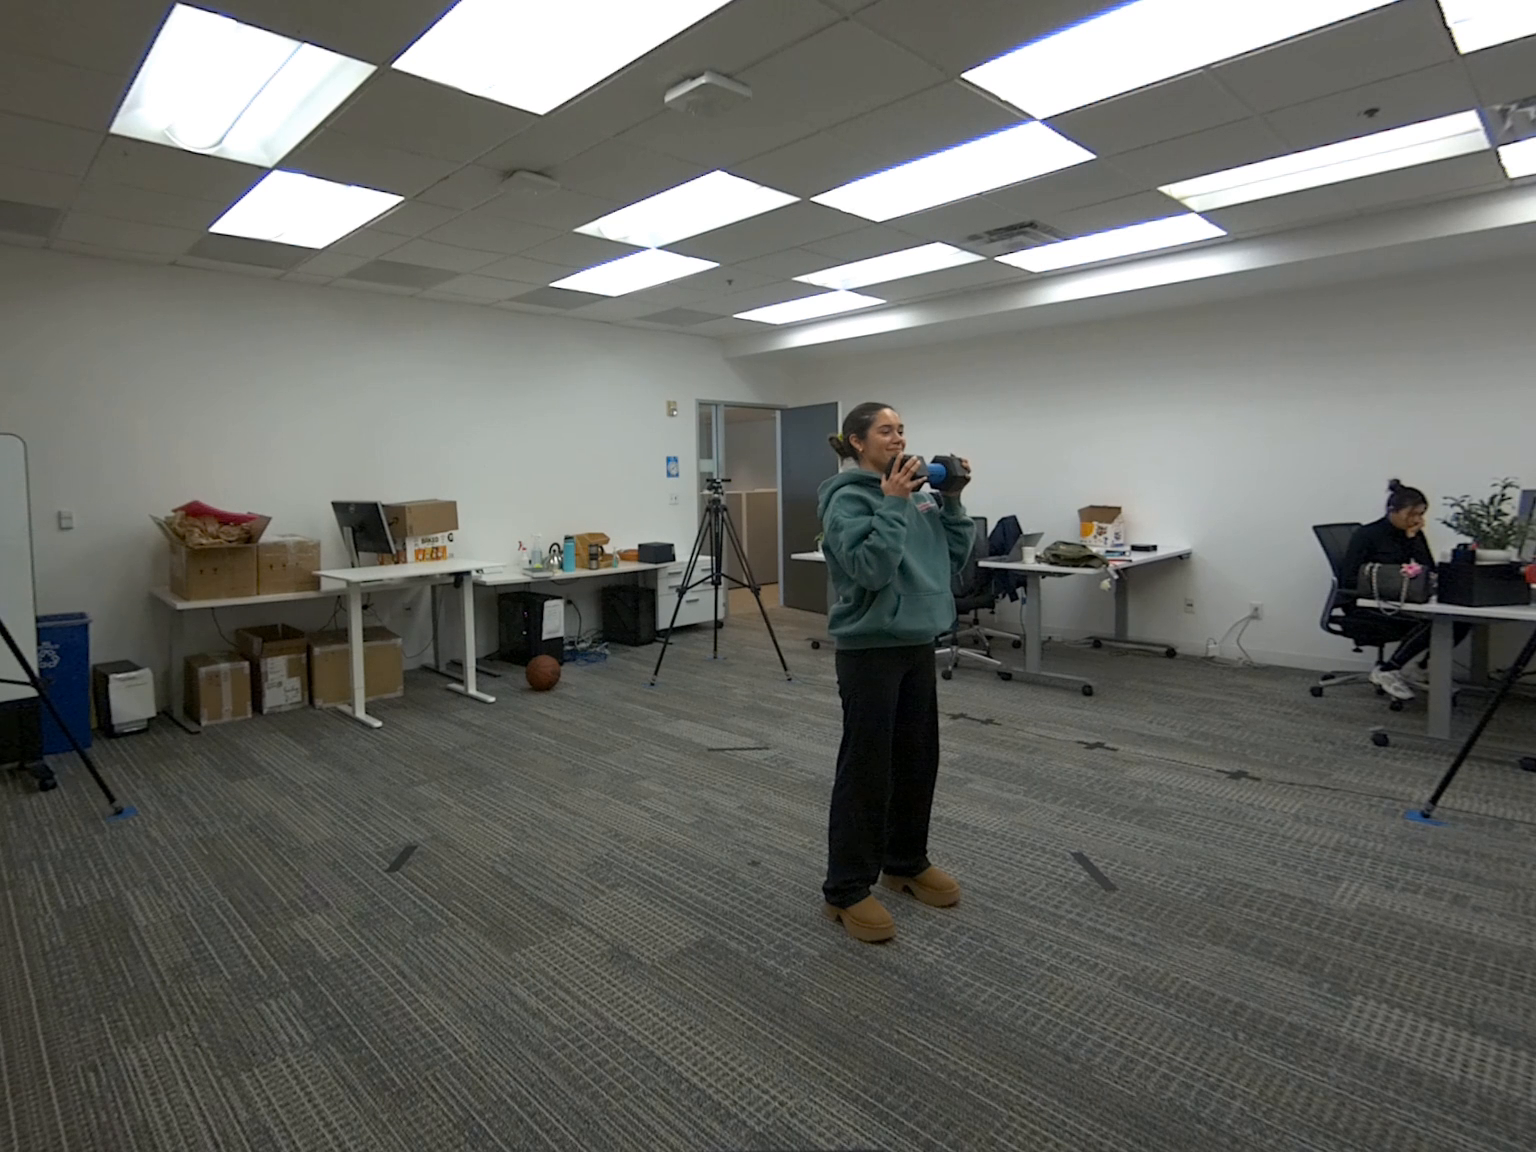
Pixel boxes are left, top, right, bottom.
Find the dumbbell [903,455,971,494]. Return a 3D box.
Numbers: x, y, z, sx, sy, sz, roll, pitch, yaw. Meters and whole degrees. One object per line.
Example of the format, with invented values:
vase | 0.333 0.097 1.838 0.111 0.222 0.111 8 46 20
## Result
dumbbell | 0.473 -0.311 2.589 0.286 0.121 0.113 -5 41 -40
